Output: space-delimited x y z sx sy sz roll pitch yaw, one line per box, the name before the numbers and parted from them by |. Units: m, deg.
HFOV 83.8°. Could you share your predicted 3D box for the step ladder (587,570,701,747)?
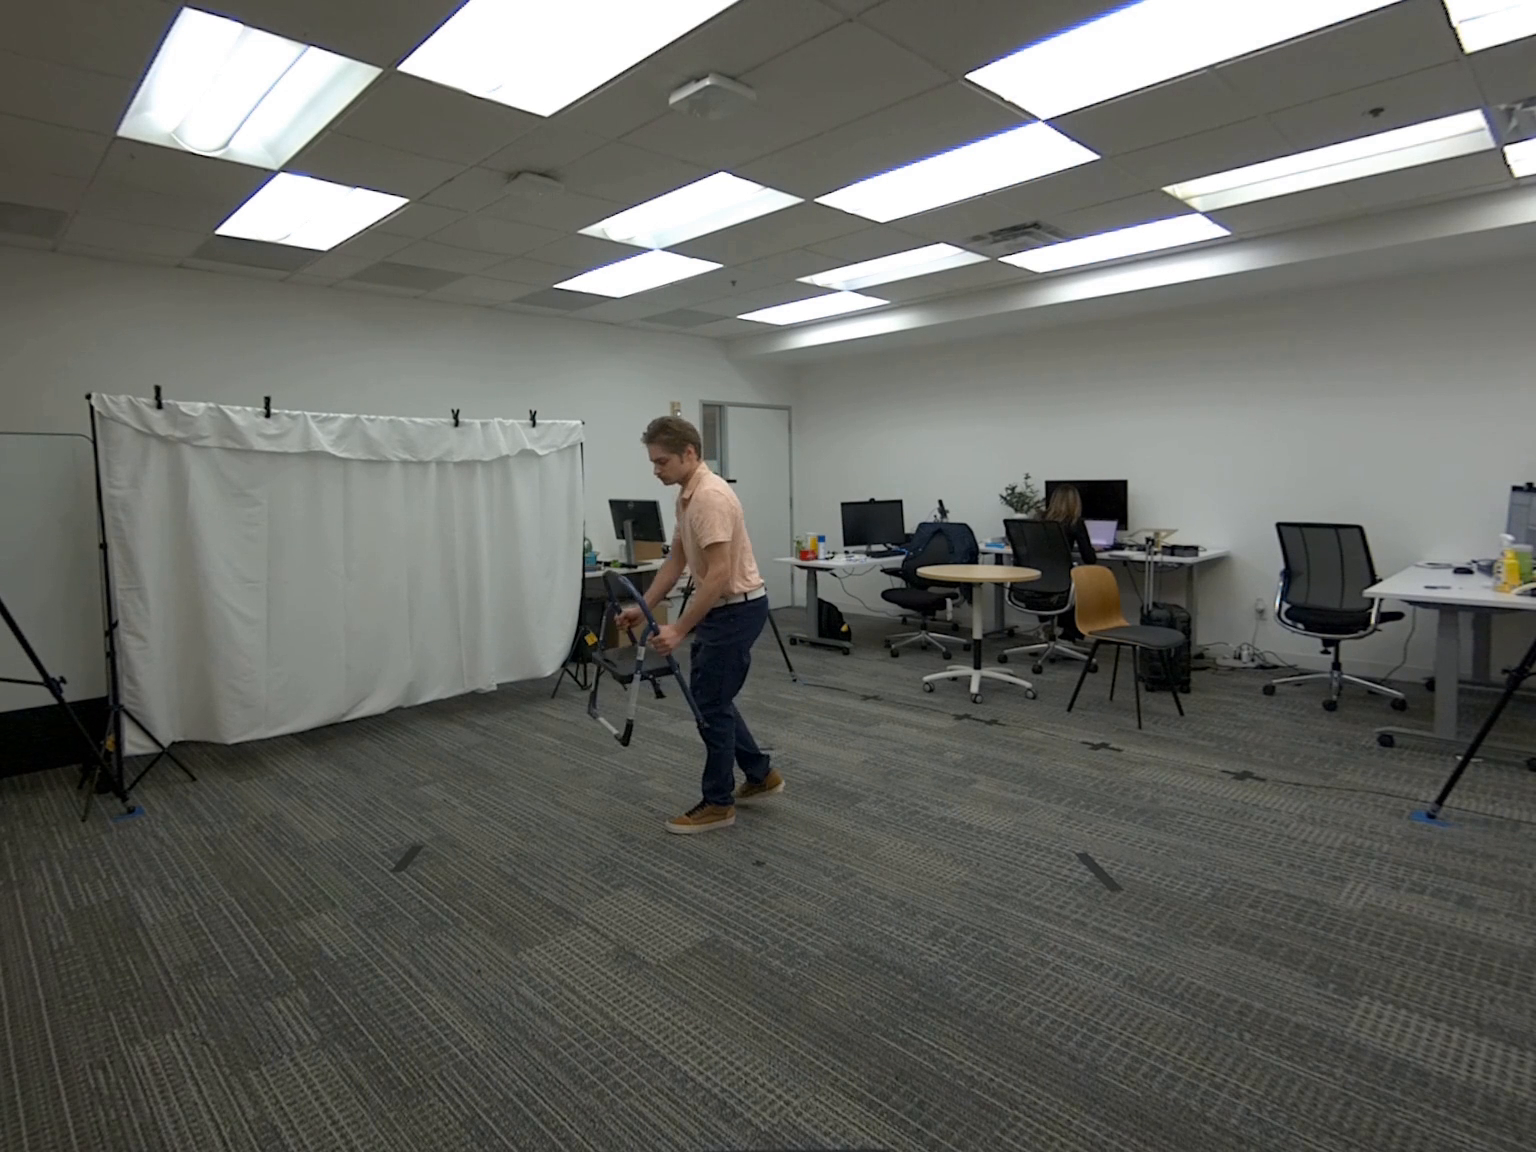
step ladder | -0.502 0.283 3.335 0.342 0.601 0.444 -8 11 -30
